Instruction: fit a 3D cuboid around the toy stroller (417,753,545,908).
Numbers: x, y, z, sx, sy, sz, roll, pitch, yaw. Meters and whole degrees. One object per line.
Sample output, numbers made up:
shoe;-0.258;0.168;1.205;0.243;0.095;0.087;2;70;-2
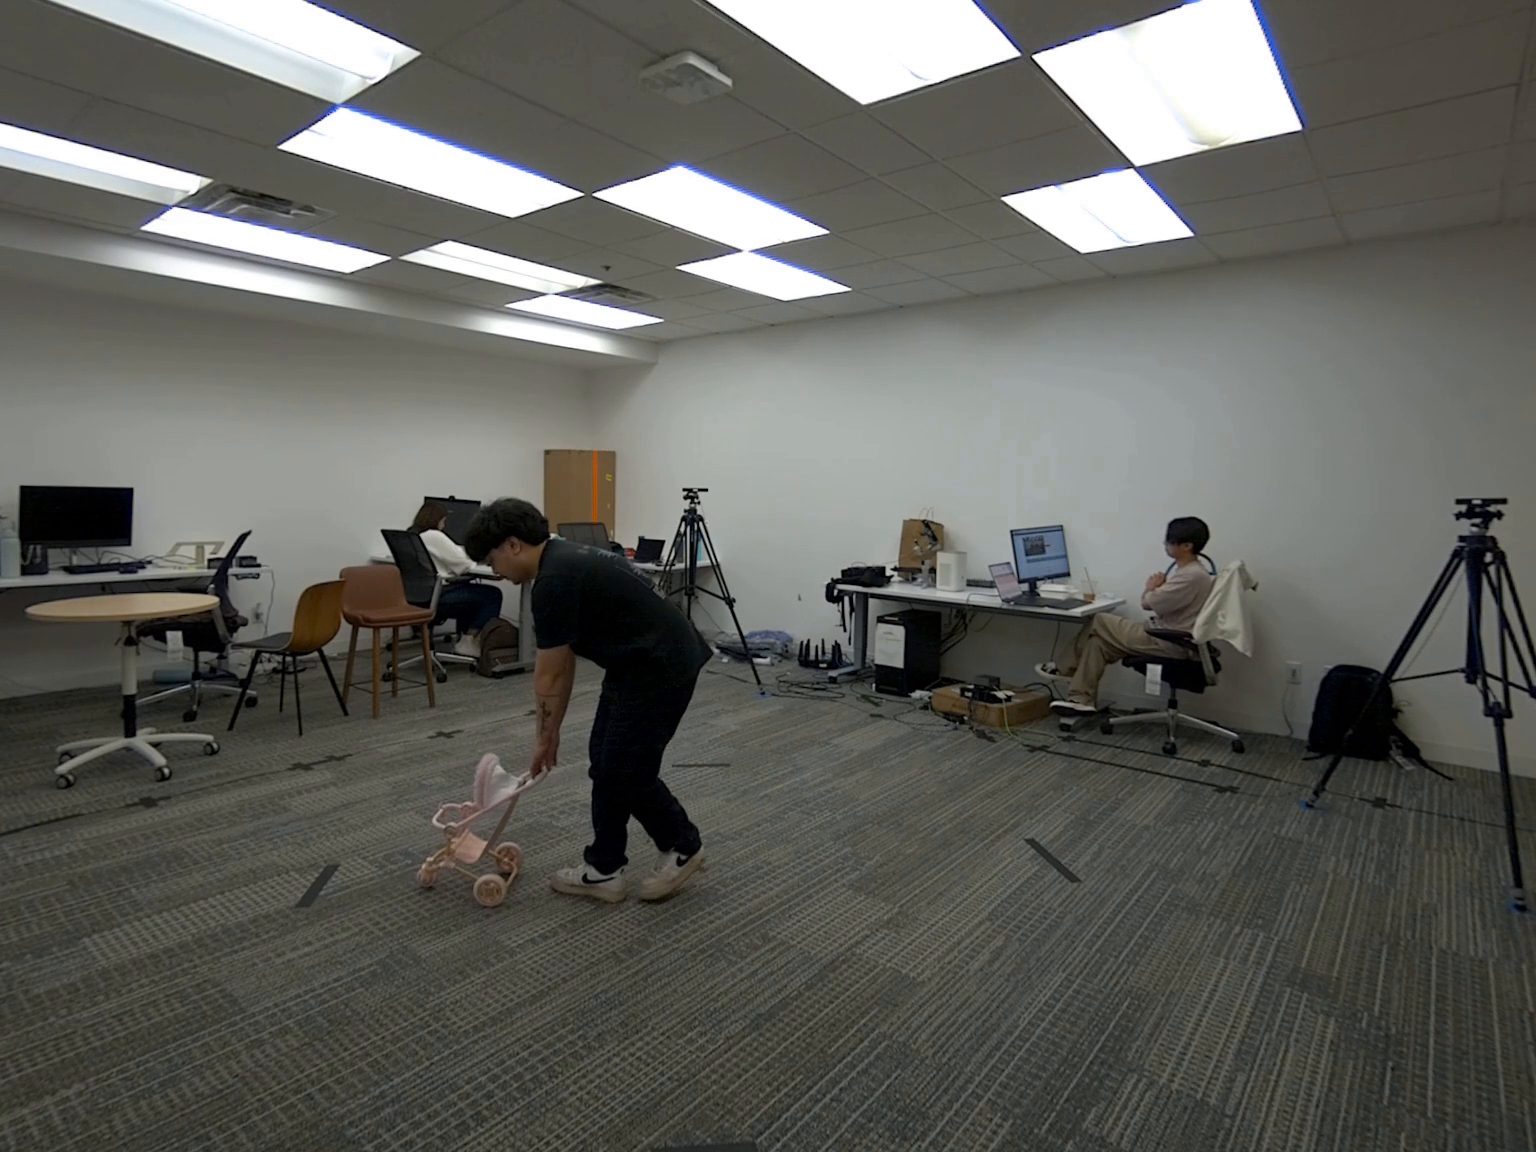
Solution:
toy stroller;-0.999;0.854;2.928;0.343;0.534;0.281;17;3;2
